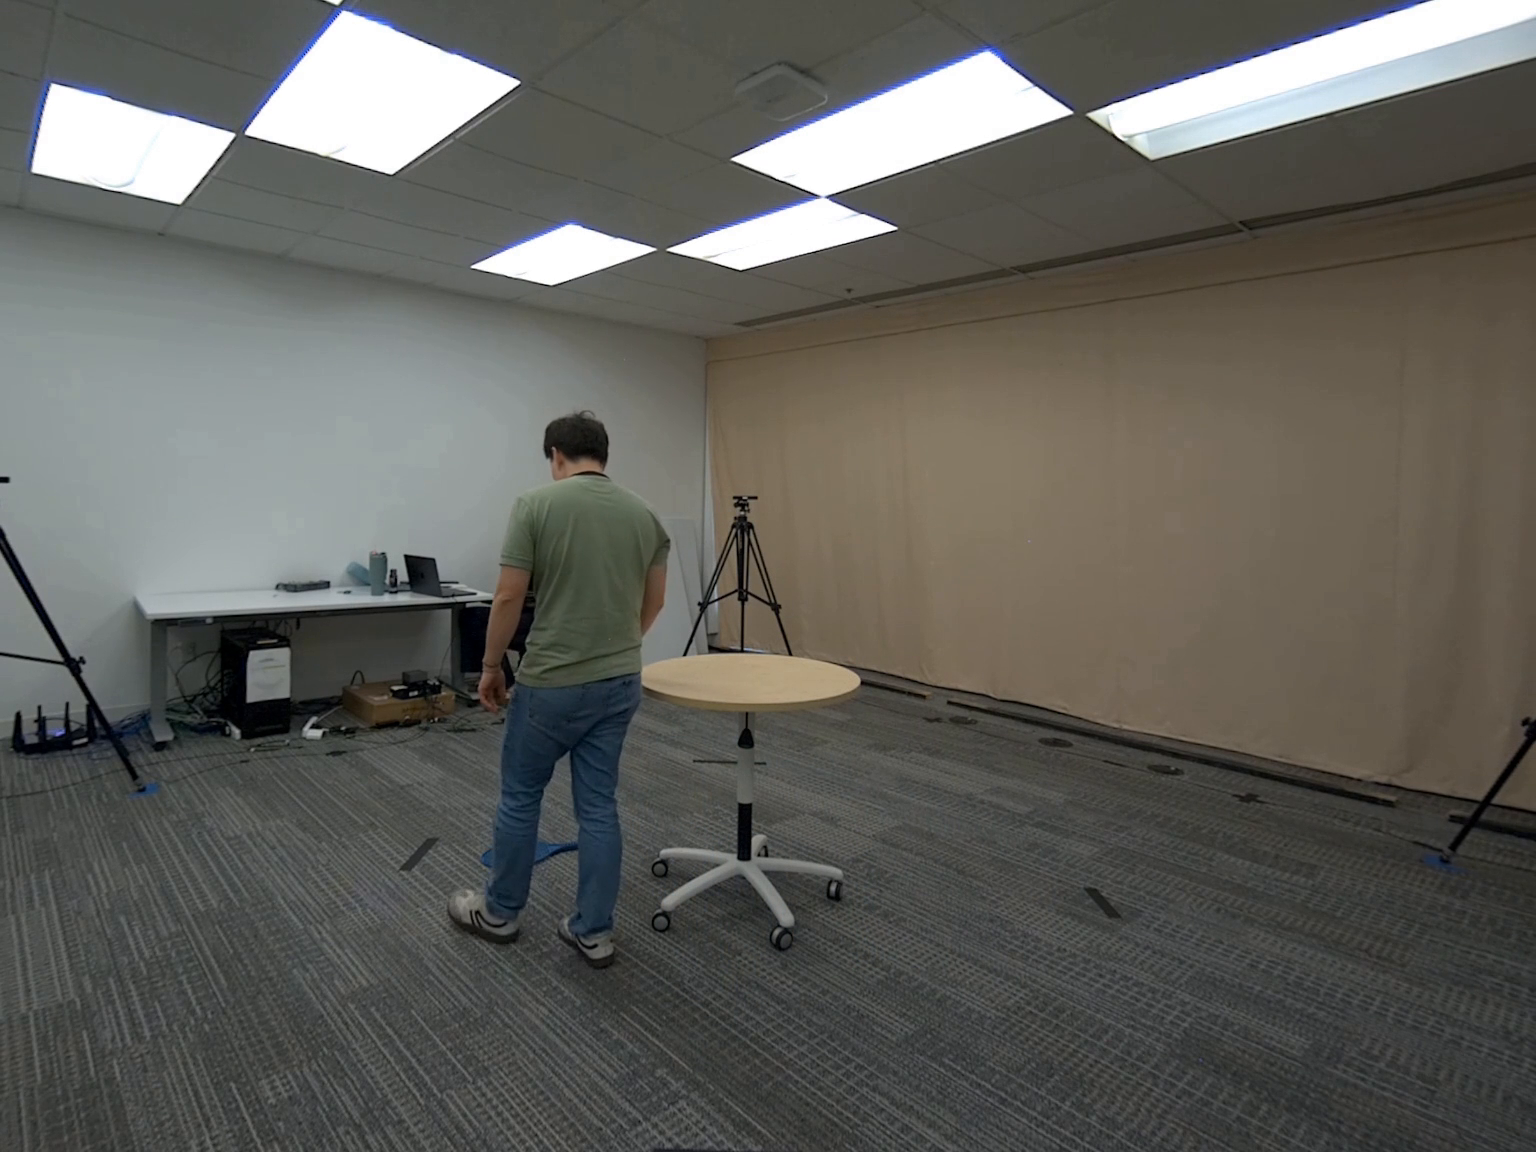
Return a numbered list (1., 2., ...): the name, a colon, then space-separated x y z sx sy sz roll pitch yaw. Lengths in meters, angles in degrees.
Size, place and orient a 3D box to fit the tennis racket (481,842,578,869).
1. tennis racket: -0.884 1.059 3.245 0.426 0.031 0.218 -2 7 -22
